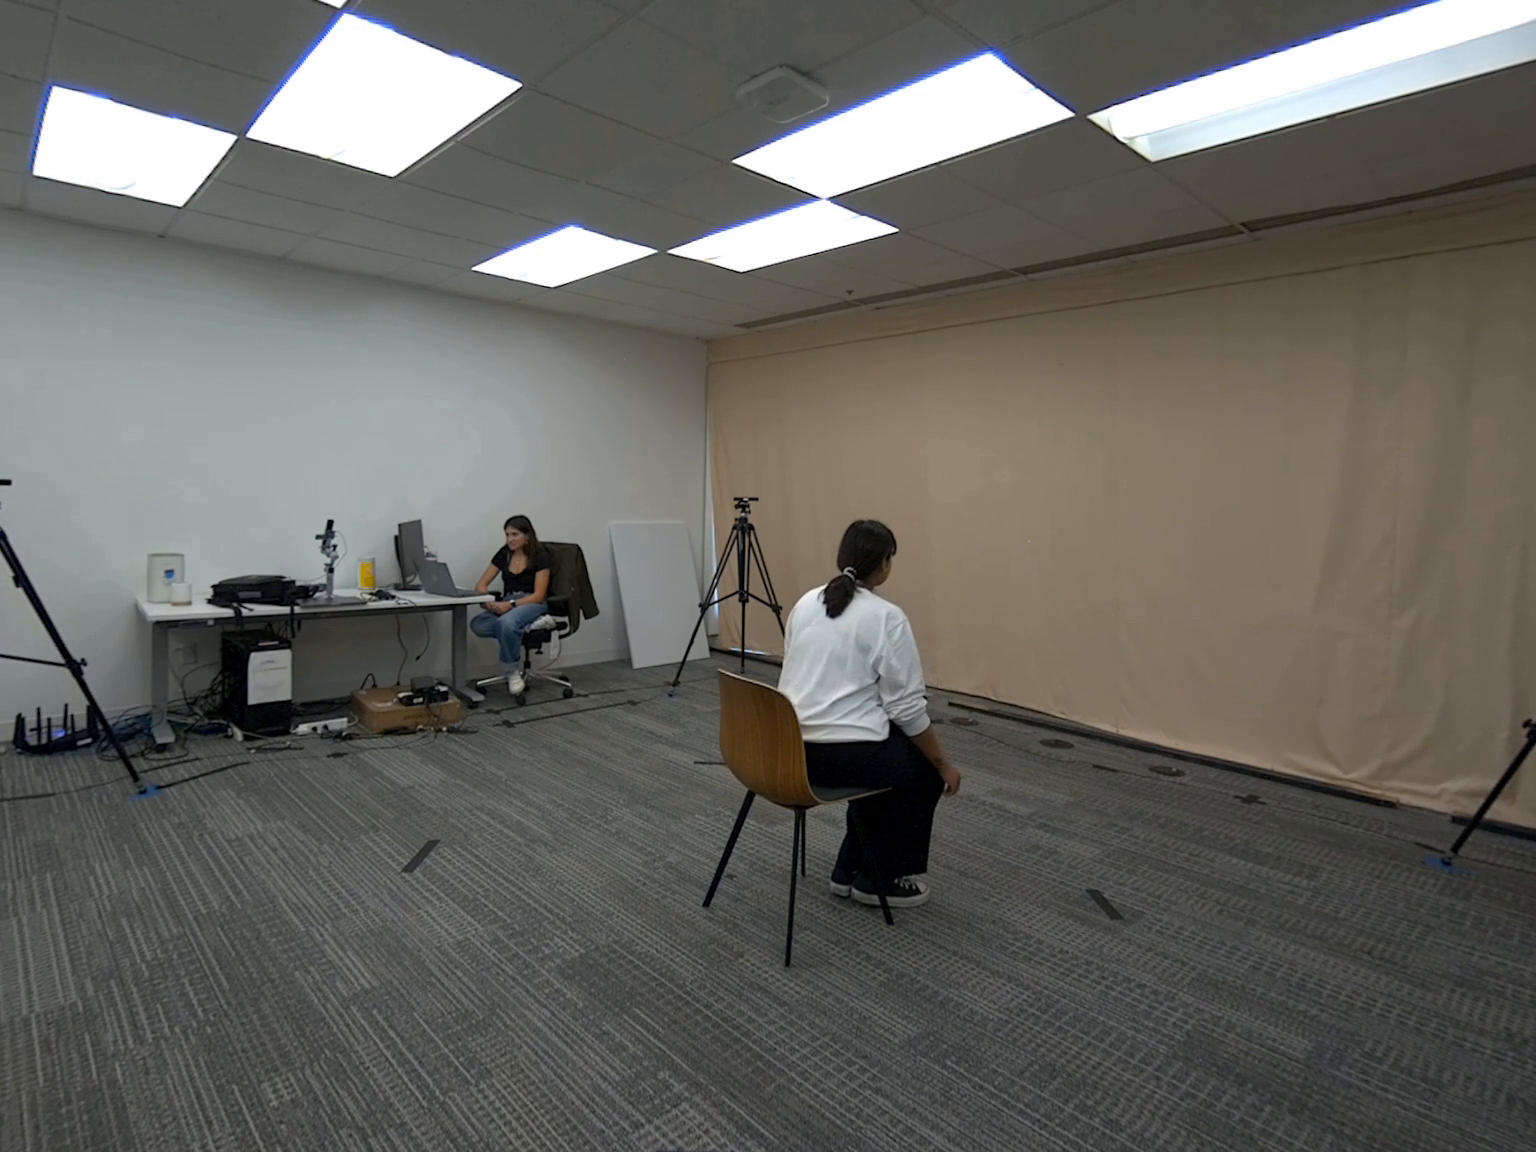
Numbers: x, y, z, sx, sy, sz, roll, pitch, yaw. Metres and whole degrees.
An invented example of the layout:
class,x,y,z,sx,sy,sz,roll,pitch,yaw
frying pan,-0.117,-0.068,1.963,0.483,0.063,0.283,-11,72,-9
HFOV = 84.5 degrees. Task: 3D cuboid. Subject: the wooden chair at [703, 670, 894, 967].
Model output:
class,x,y,z,sx,sy,sz,roll,pitch,yaw
wooden chair,0.106,0.712,2.800,0.512,0.873,0.490,-6,7,-37
